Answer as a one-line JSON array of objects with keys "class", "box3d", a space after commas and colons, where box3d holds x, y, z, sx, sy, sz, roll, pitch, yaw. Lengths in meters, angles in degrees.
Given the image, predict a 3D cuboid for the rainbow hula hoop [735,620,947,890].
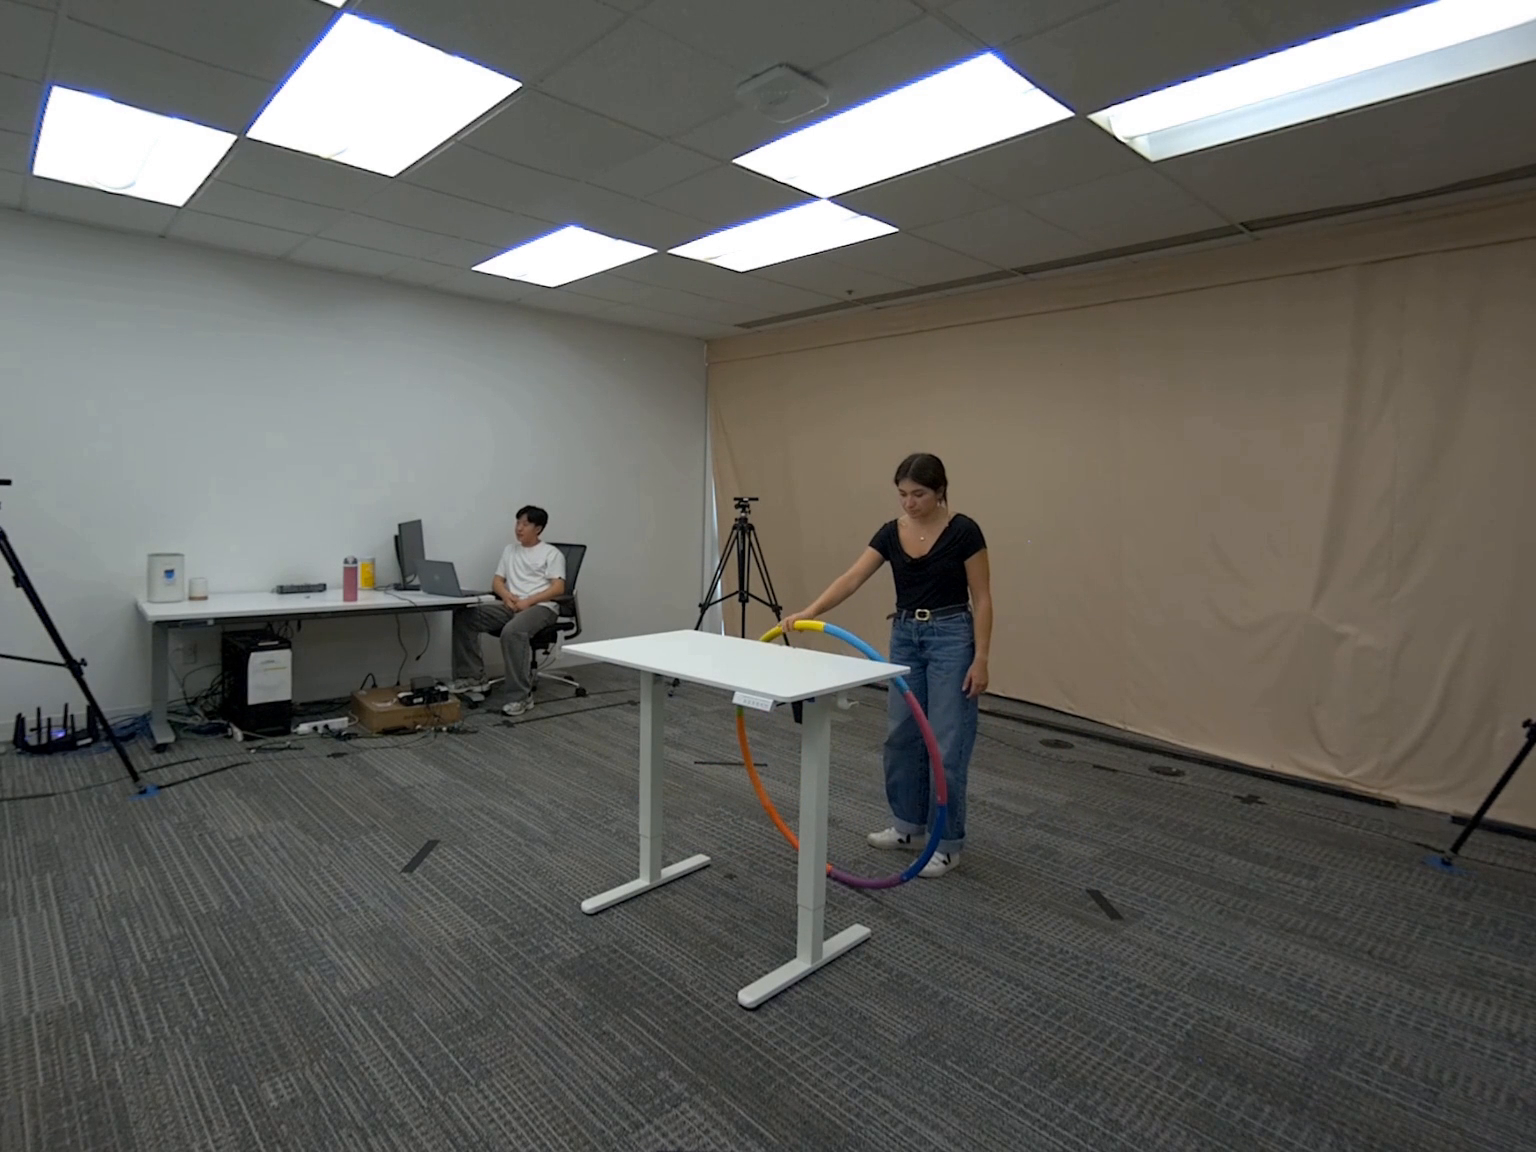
[{"class": "rainbow hula hoop", "box3d": [0.219, 0.639, 3.018, 0.035, 0.971, 1.004, -13, 12, -40]}]
